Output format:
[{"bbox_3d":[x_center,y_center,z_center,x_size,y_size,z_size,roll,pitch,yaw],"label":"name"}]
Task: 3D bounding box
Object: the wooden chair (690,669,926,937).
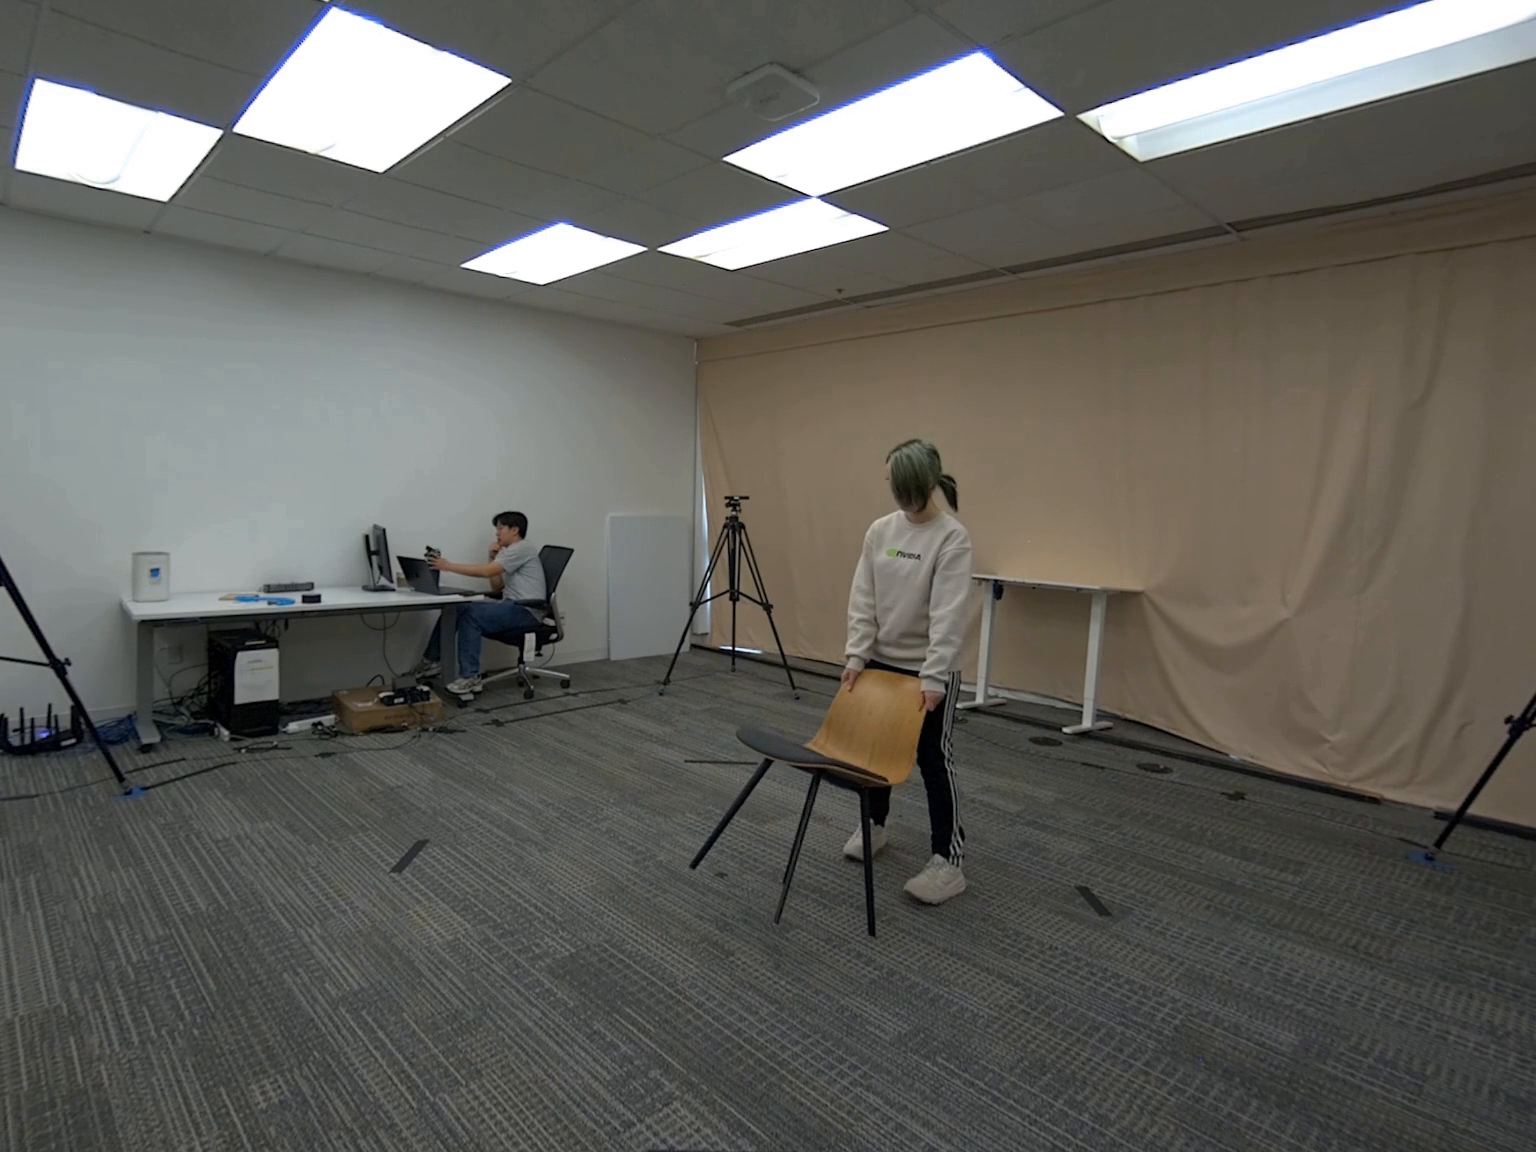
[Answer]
[{"bbox_3d":[0.162,0.657,2.790,0.507,0.881,0.490,30,-15,-37],"label":"wooden chair"}]
